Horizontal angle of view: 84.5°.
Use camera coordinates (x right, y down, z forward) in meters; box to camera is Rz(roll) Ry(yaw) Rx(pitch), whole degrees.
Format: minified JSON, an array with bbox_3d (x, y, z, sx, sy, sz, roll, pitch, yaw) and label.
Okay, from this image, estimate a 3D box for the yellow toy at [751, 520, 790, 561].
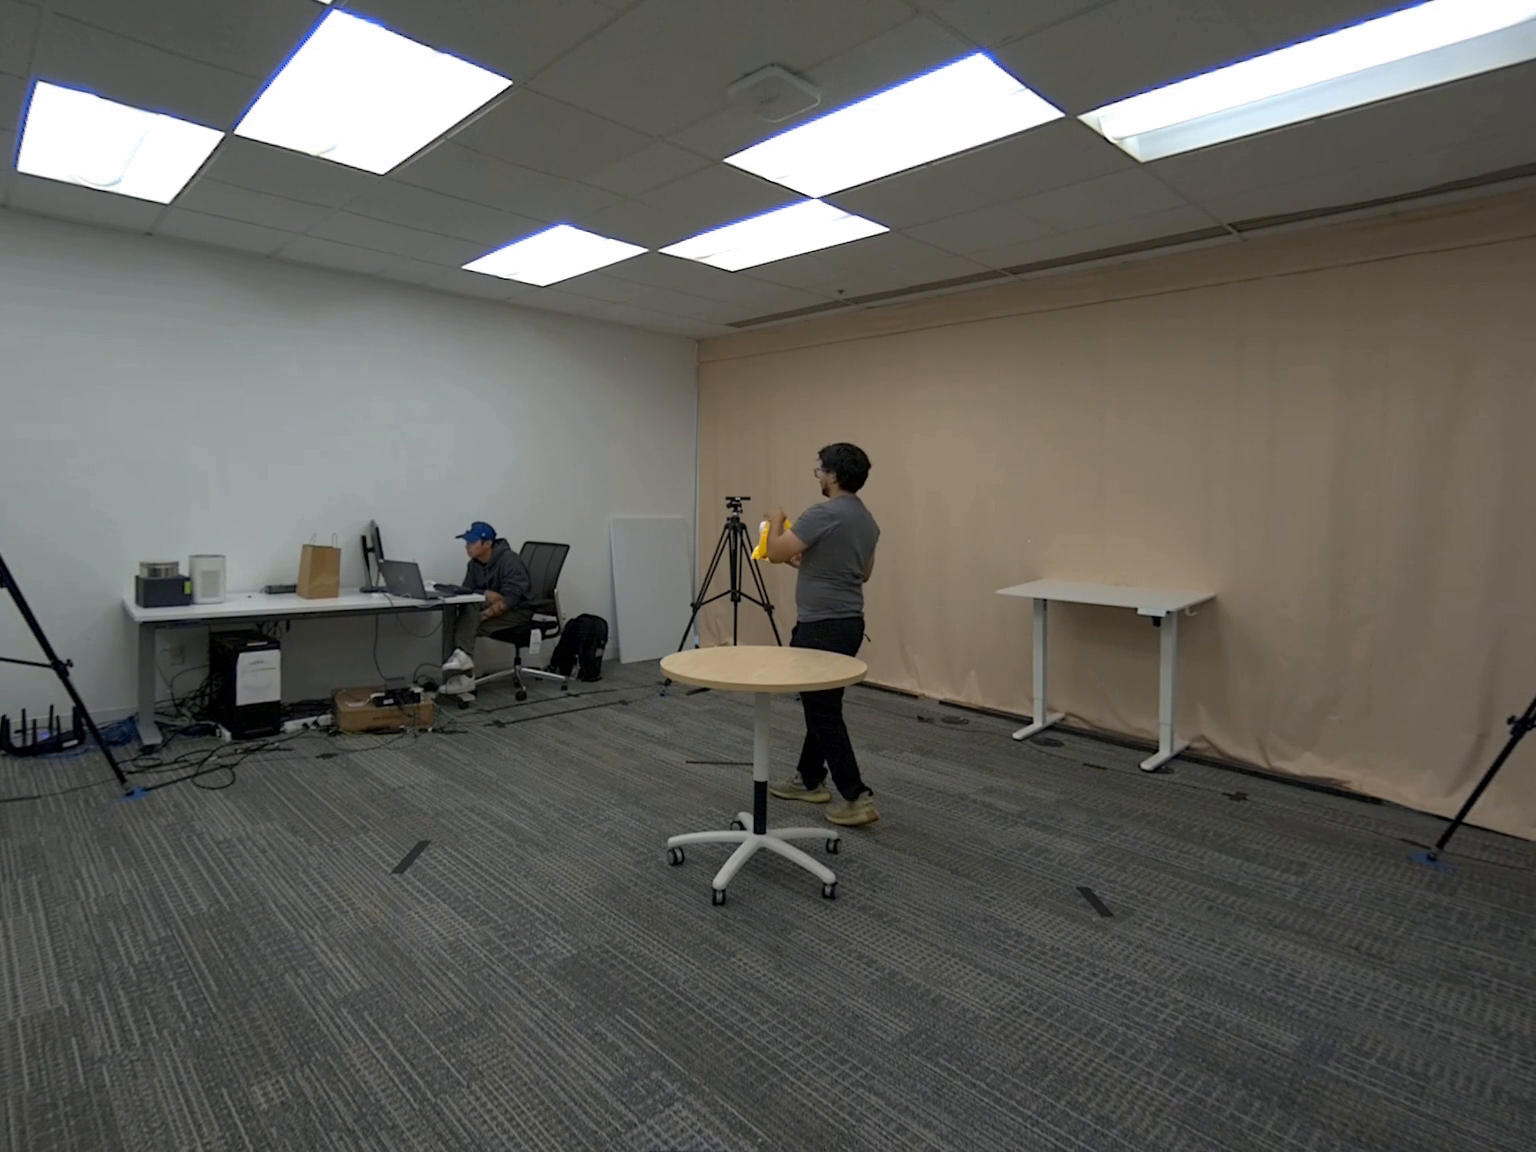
[{"bbox_3d":[0.020,-0.204,3.975,0.190,0.228,0.210,-14,14,-37],"label":"yellow toy"}]
